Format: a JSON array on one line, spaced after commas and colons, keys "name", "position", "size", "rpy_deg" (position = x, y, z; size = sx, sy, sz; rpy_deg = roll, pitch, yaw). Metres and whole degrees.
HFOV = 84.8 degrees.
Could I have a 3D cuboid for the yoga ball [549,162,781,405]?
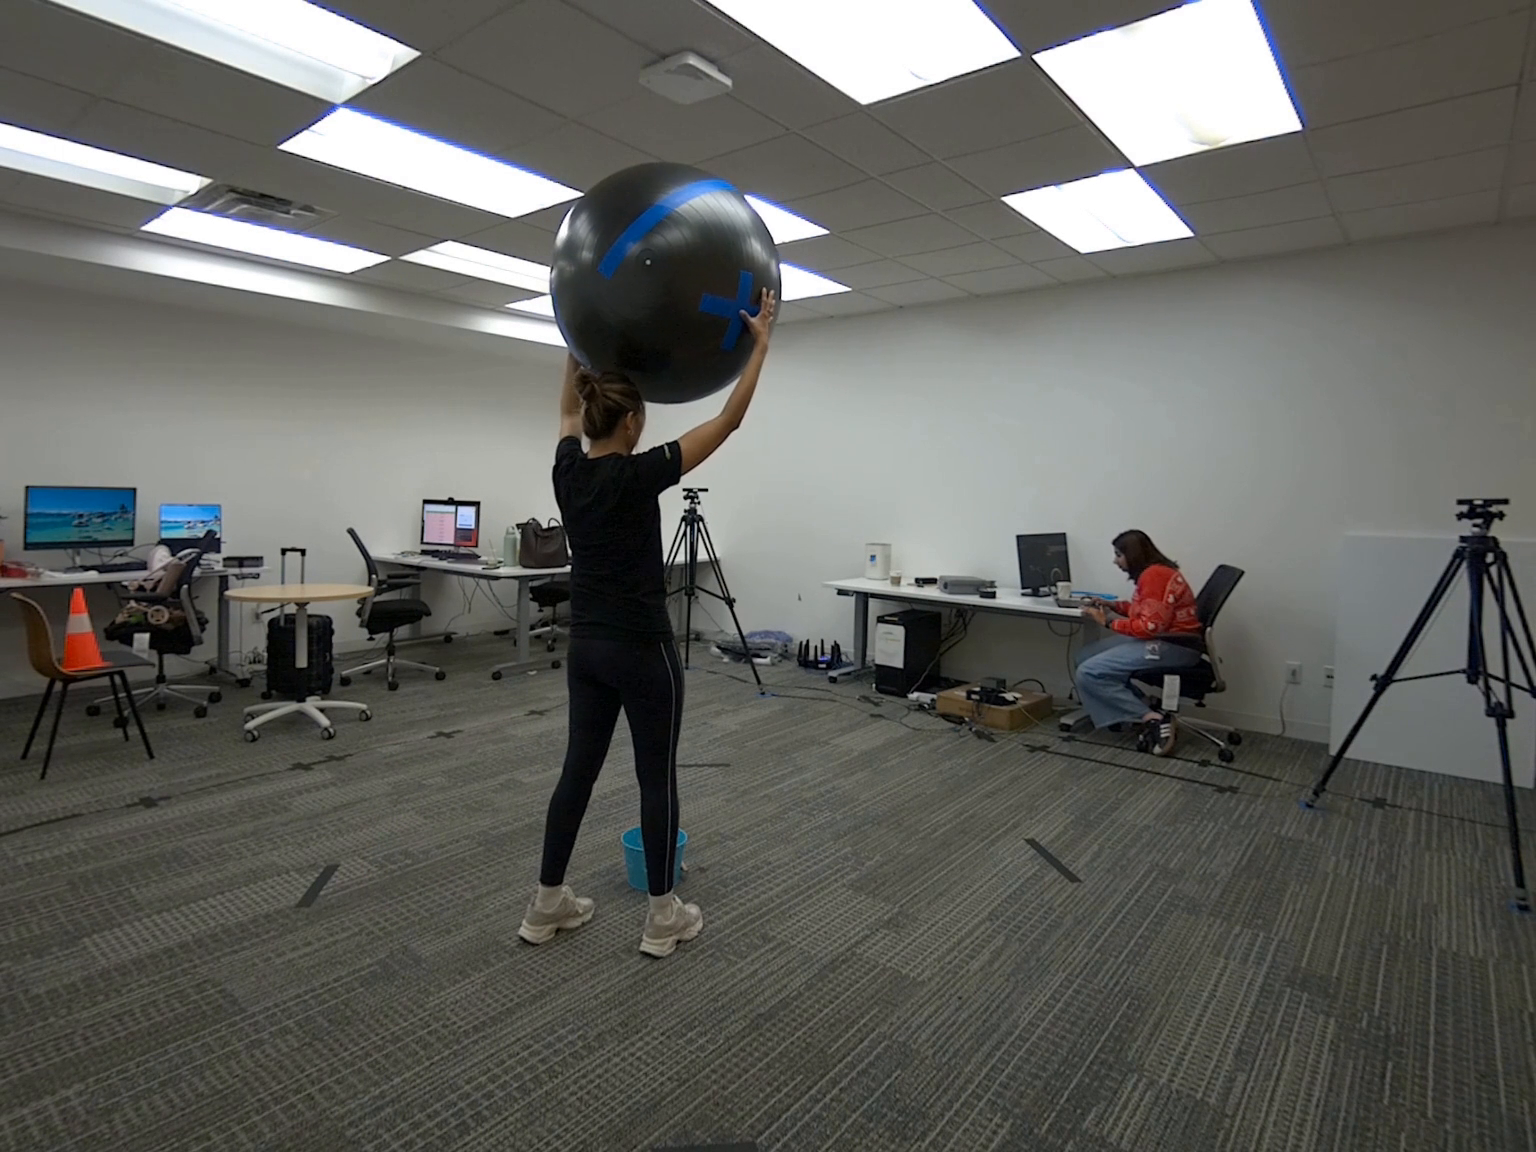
[{"name": "yoga ball", "position": [-0.340, -0.943, 2.788], "size": [0.757, 0.755, 0.762], "rpy_deg": [1, 4, -2]}]
